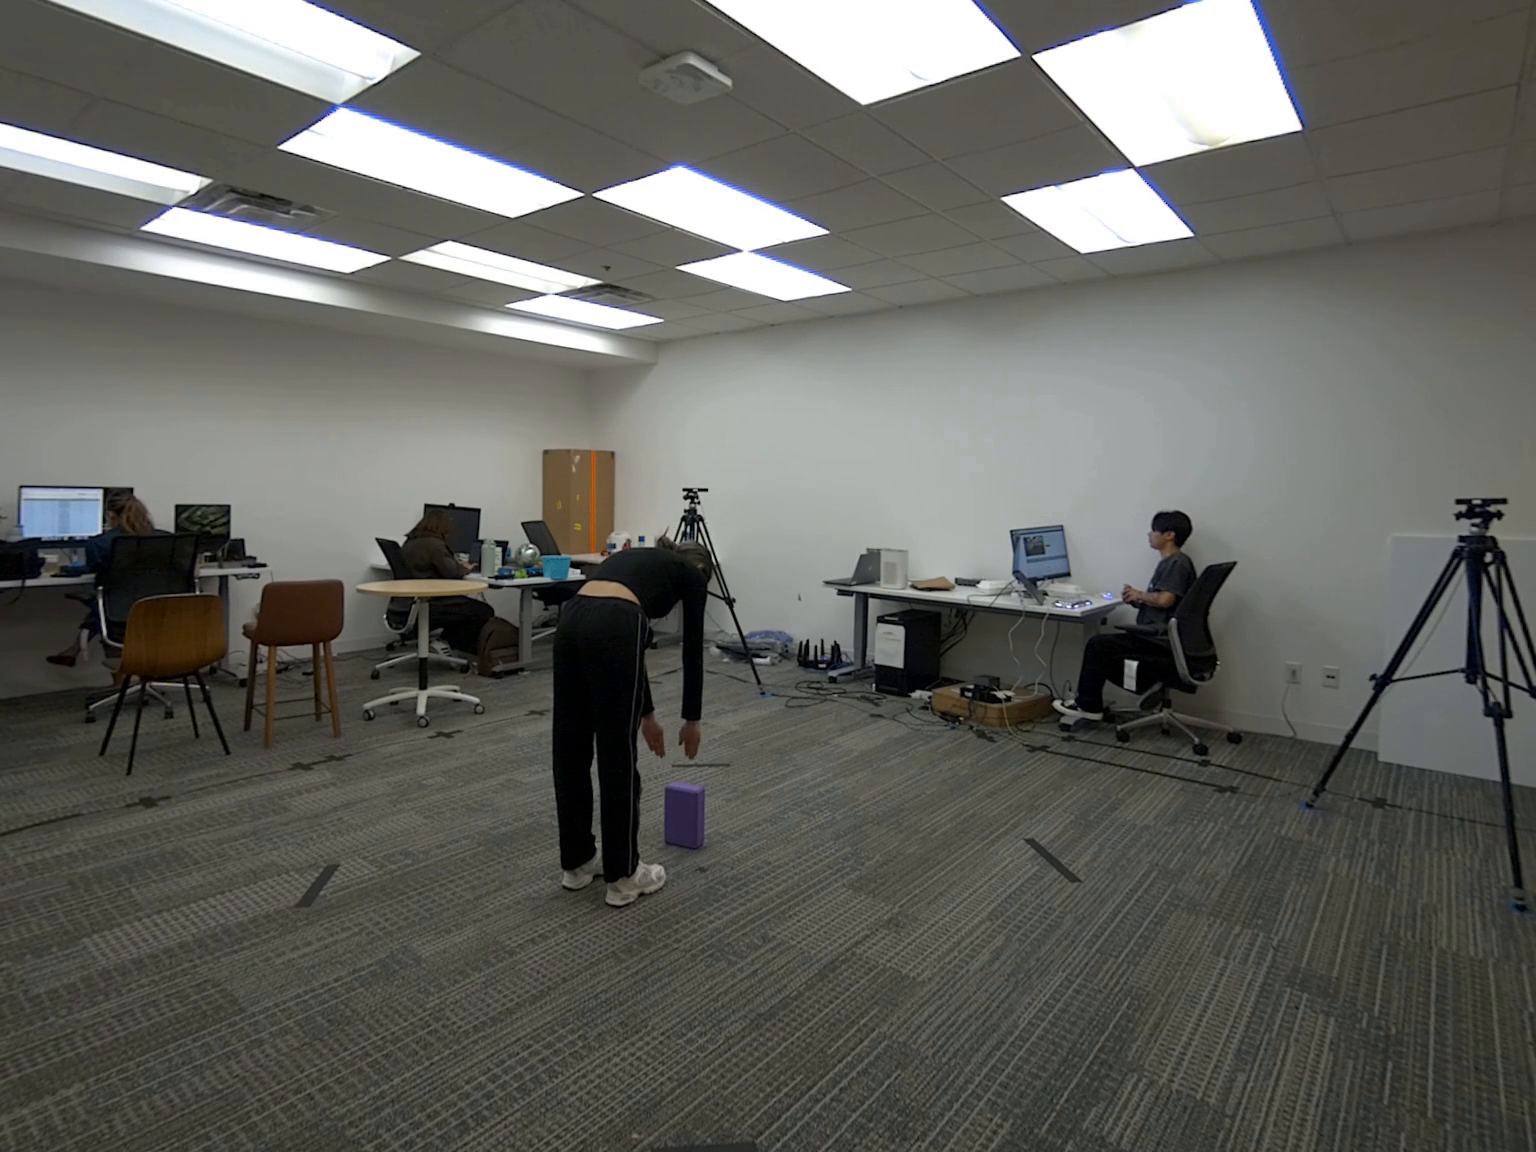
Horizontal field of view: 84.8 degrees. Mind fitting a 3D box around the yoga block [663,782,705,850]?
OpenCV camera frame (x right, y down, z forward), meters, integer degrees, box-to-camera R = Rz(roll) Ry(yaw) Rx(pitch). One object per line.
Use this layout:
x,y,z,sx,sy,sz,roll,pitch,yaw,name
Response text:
-0.339,0.930,3.331,0.152,0.229,0.075,2,2,24,yoga block
